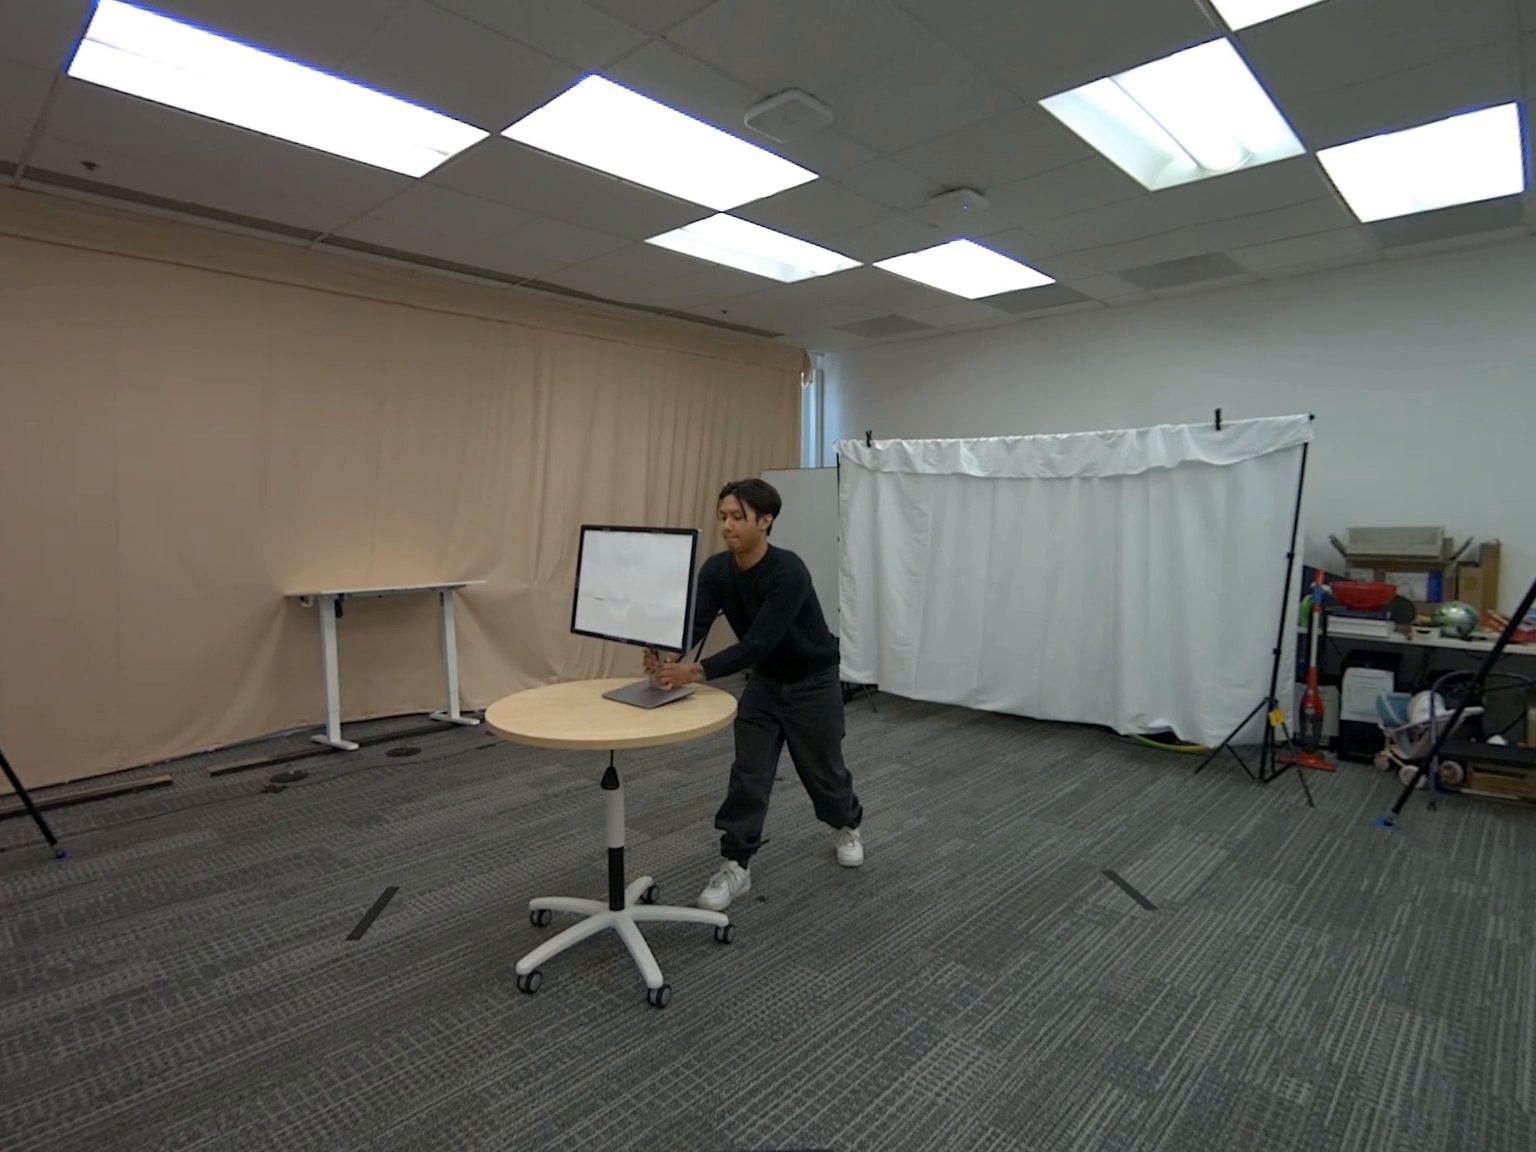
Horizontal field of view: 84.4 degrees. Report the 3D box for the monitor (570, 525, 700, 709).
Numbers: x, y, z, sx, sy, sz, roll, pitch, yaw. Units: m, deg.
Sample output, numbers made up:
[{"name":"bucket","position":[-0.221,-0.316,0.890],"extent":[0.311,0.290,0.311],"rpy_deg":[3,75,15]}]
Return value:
[{"name":"monitor","position":[-0.395,0.117,2.650],"extent":[0.557,0.520,0.182],"rpy_deg":[3,8,42]}]
